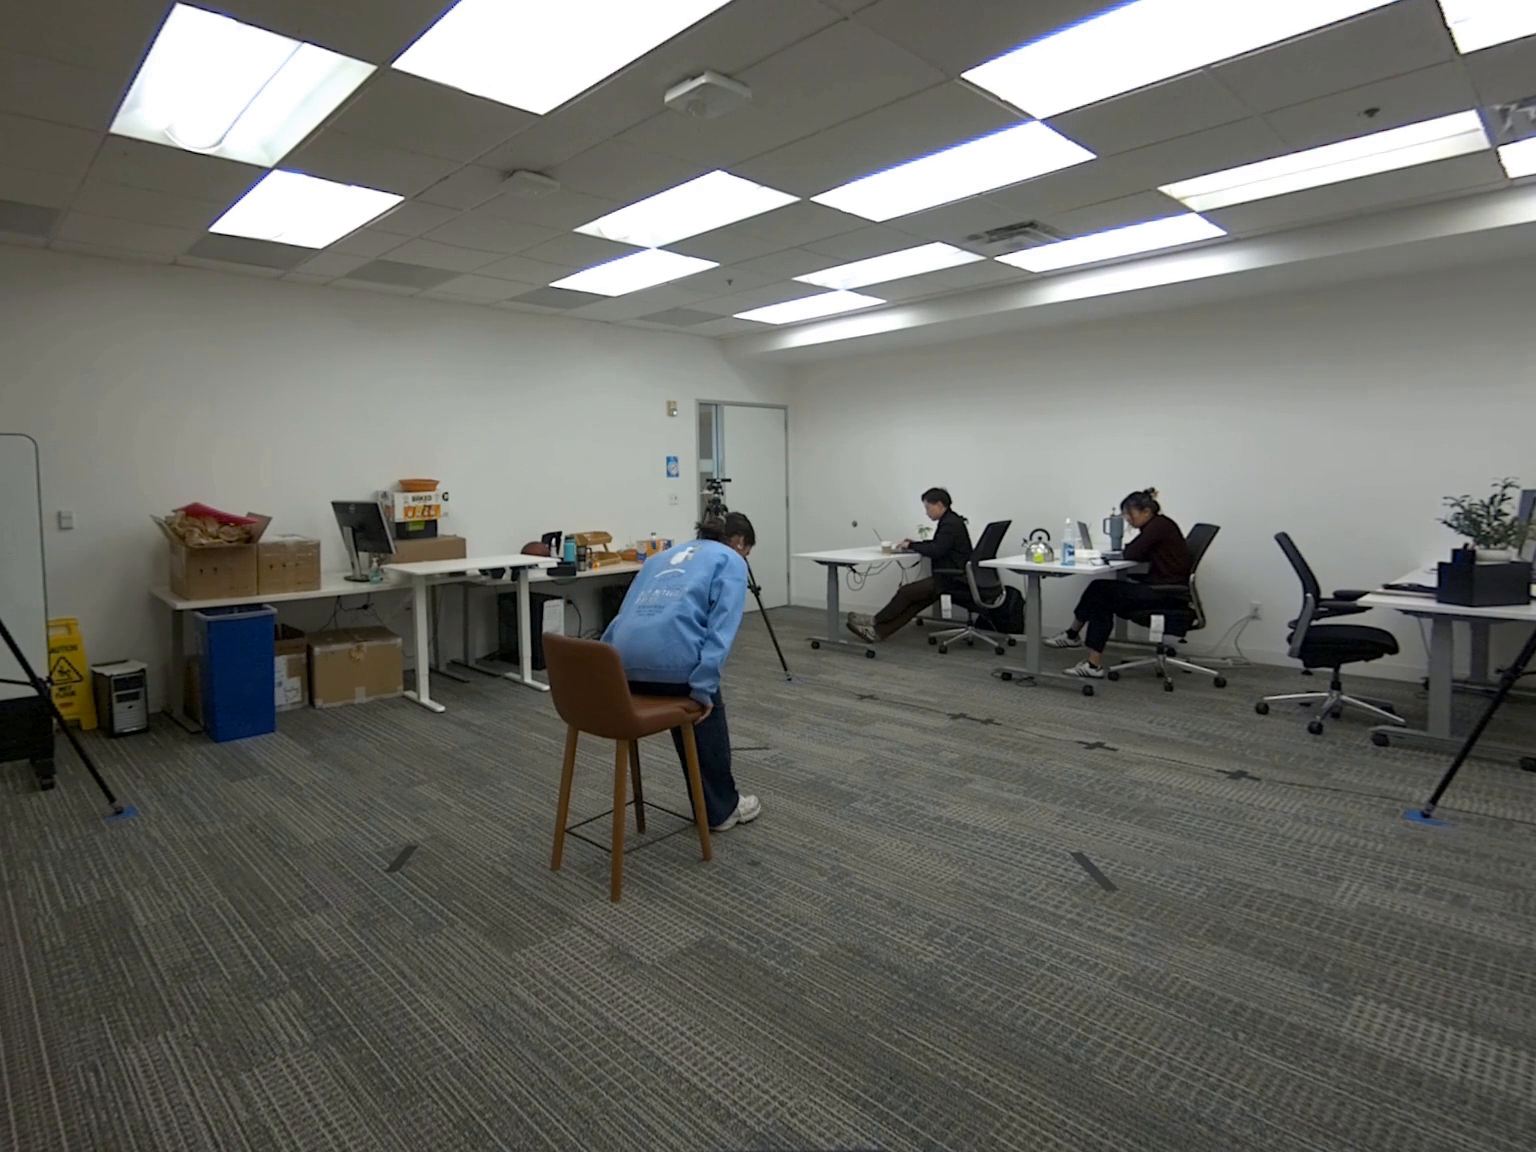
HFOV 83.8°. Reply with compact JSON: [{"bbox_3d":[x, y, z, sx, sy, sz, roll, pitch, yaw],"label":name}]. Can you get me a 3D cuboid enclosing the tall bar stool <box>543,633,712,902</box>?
[{"bbox_3d":[-0.514,0.617,3.089,0.470,0.885,0.456,3,8,43],"label":"tall bar stool"}]
